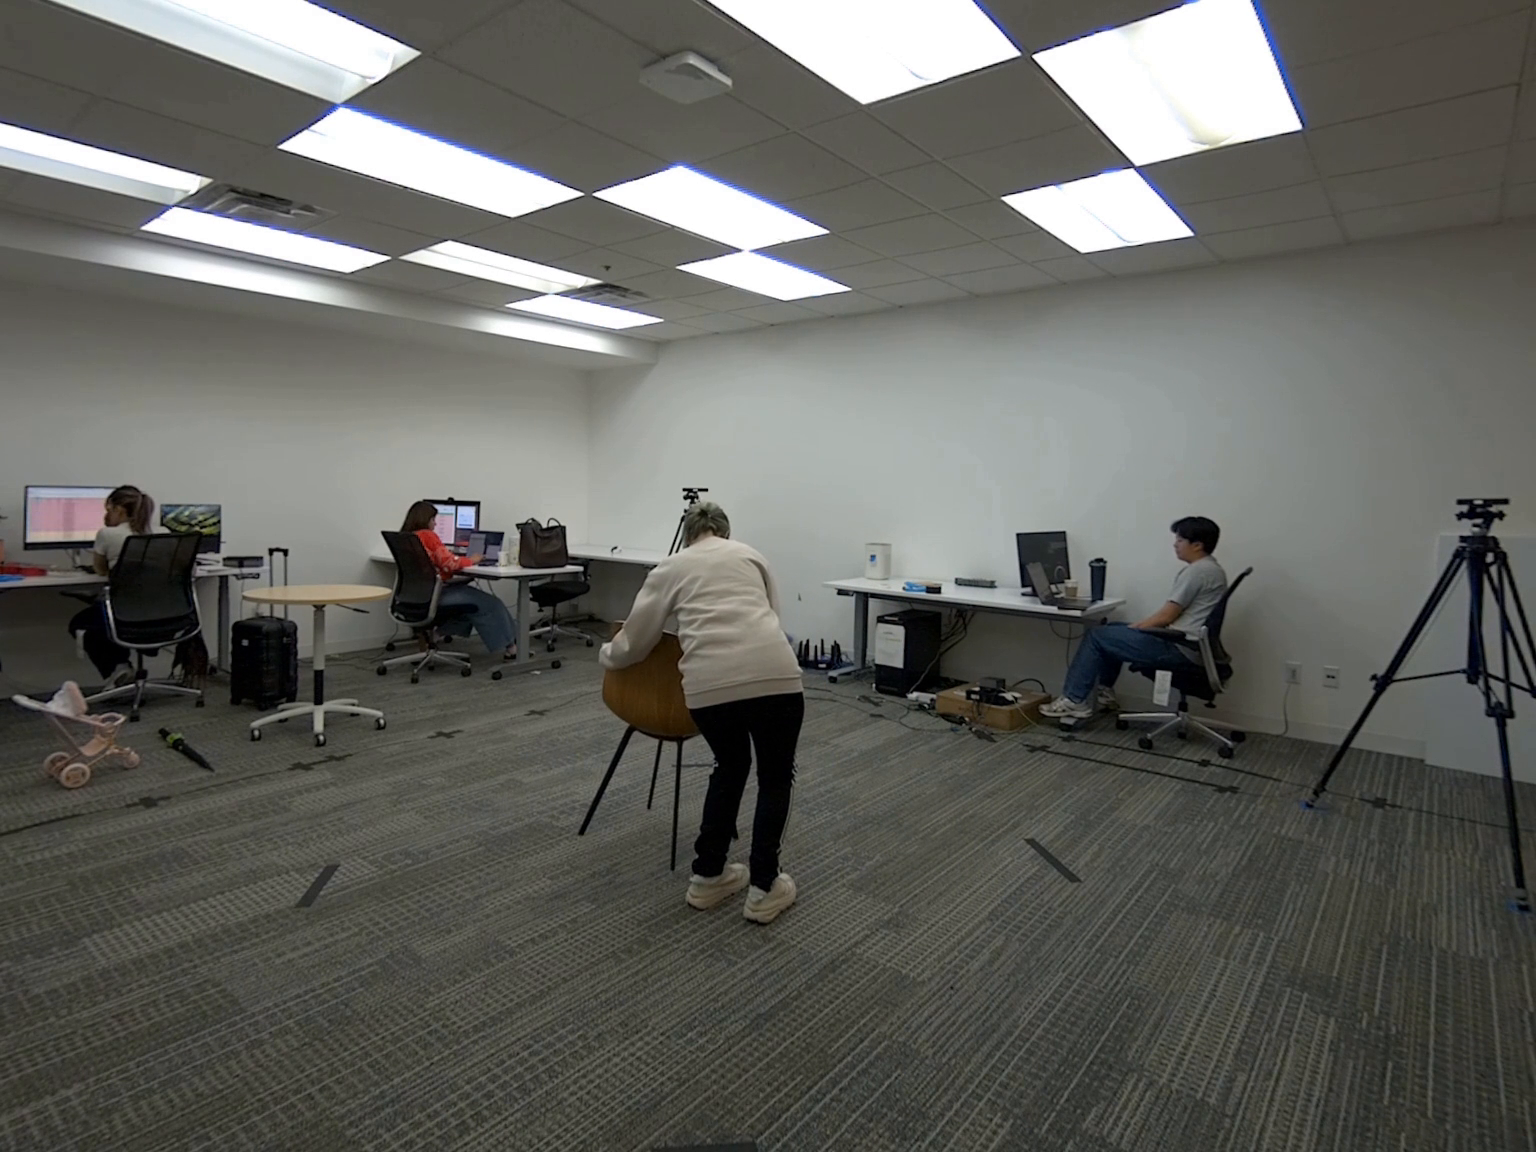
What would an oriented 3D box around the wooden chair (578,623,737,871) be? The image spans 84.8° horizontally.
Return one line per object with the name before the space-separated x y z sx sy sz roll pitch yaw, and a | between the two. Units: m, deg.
wooden chair | -0.381 0.594 3.320 0.493 0.874 0.509 7 5 30
